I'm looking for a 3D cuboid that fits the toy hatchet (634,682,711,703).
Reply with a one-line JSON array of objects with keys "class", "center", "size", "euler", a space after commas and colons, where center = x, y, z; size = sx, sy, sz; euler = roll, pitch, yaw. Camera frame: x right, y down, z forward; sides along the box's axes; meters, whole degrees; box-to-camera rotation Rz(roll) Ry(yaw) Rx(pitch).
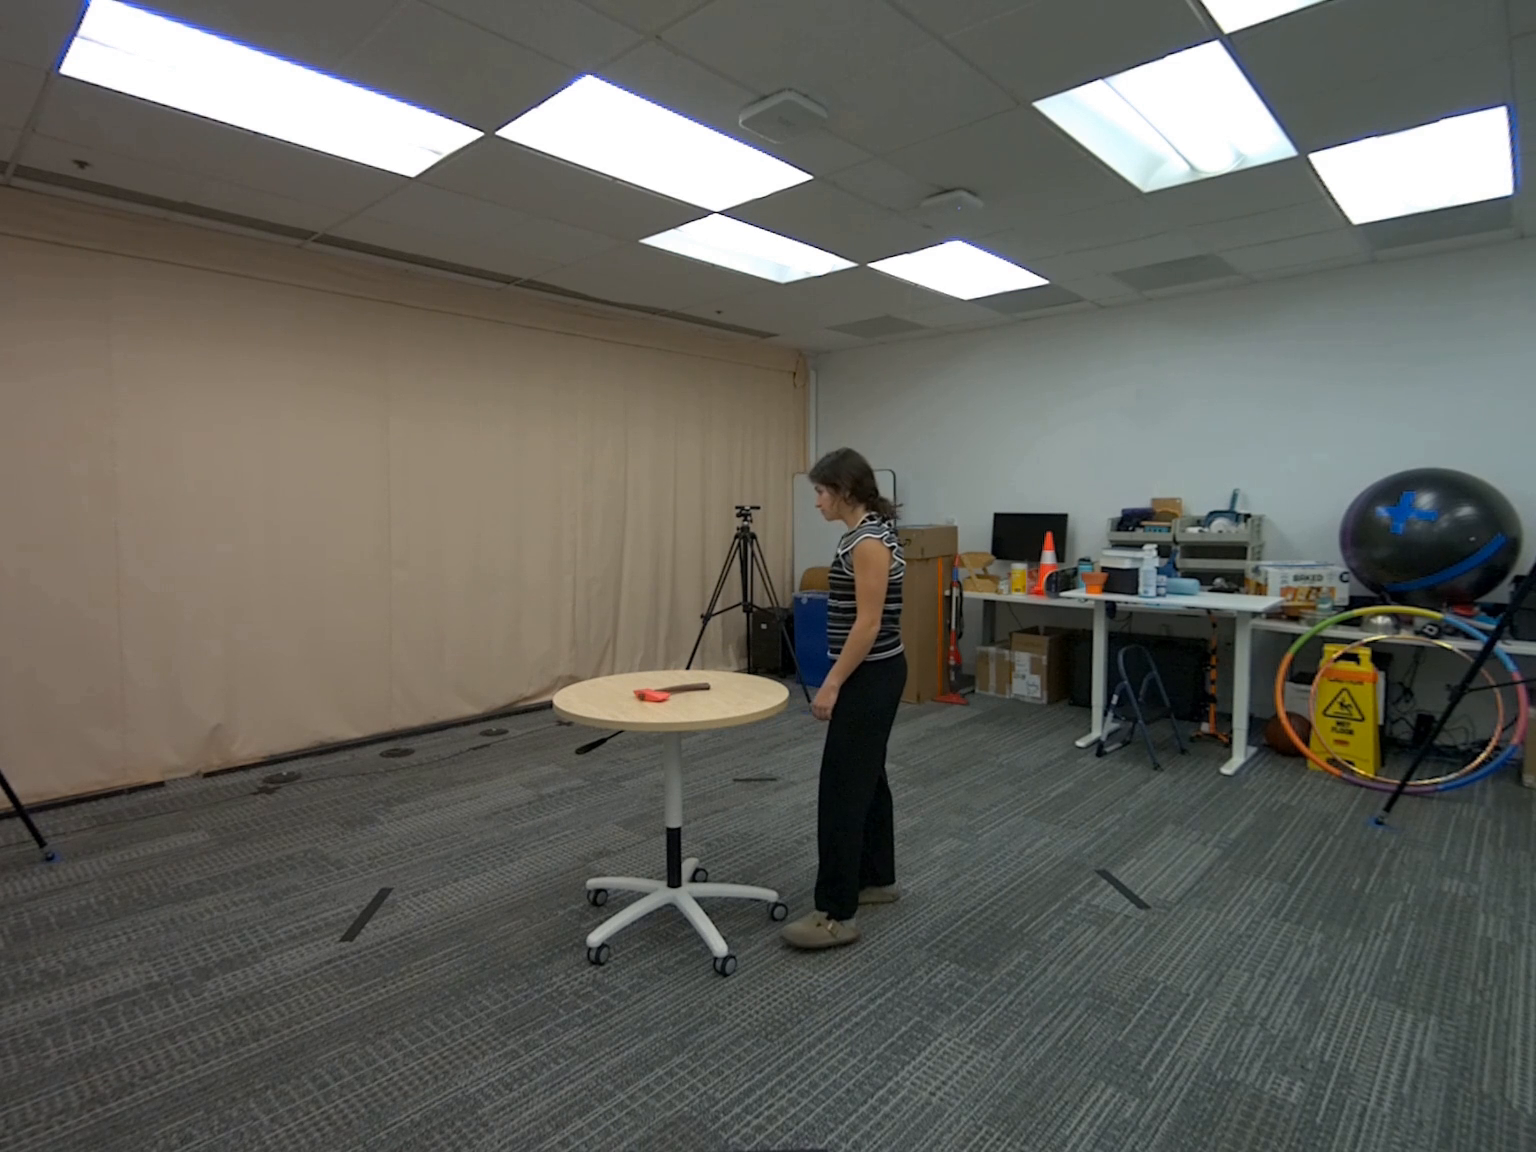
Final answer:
[{"class": "toy hatchet", "center": [-0.295, 0.376, 2.701], "size": [0.263, 0.029, 0.134], "euler": [-2, 4, -26]}]
